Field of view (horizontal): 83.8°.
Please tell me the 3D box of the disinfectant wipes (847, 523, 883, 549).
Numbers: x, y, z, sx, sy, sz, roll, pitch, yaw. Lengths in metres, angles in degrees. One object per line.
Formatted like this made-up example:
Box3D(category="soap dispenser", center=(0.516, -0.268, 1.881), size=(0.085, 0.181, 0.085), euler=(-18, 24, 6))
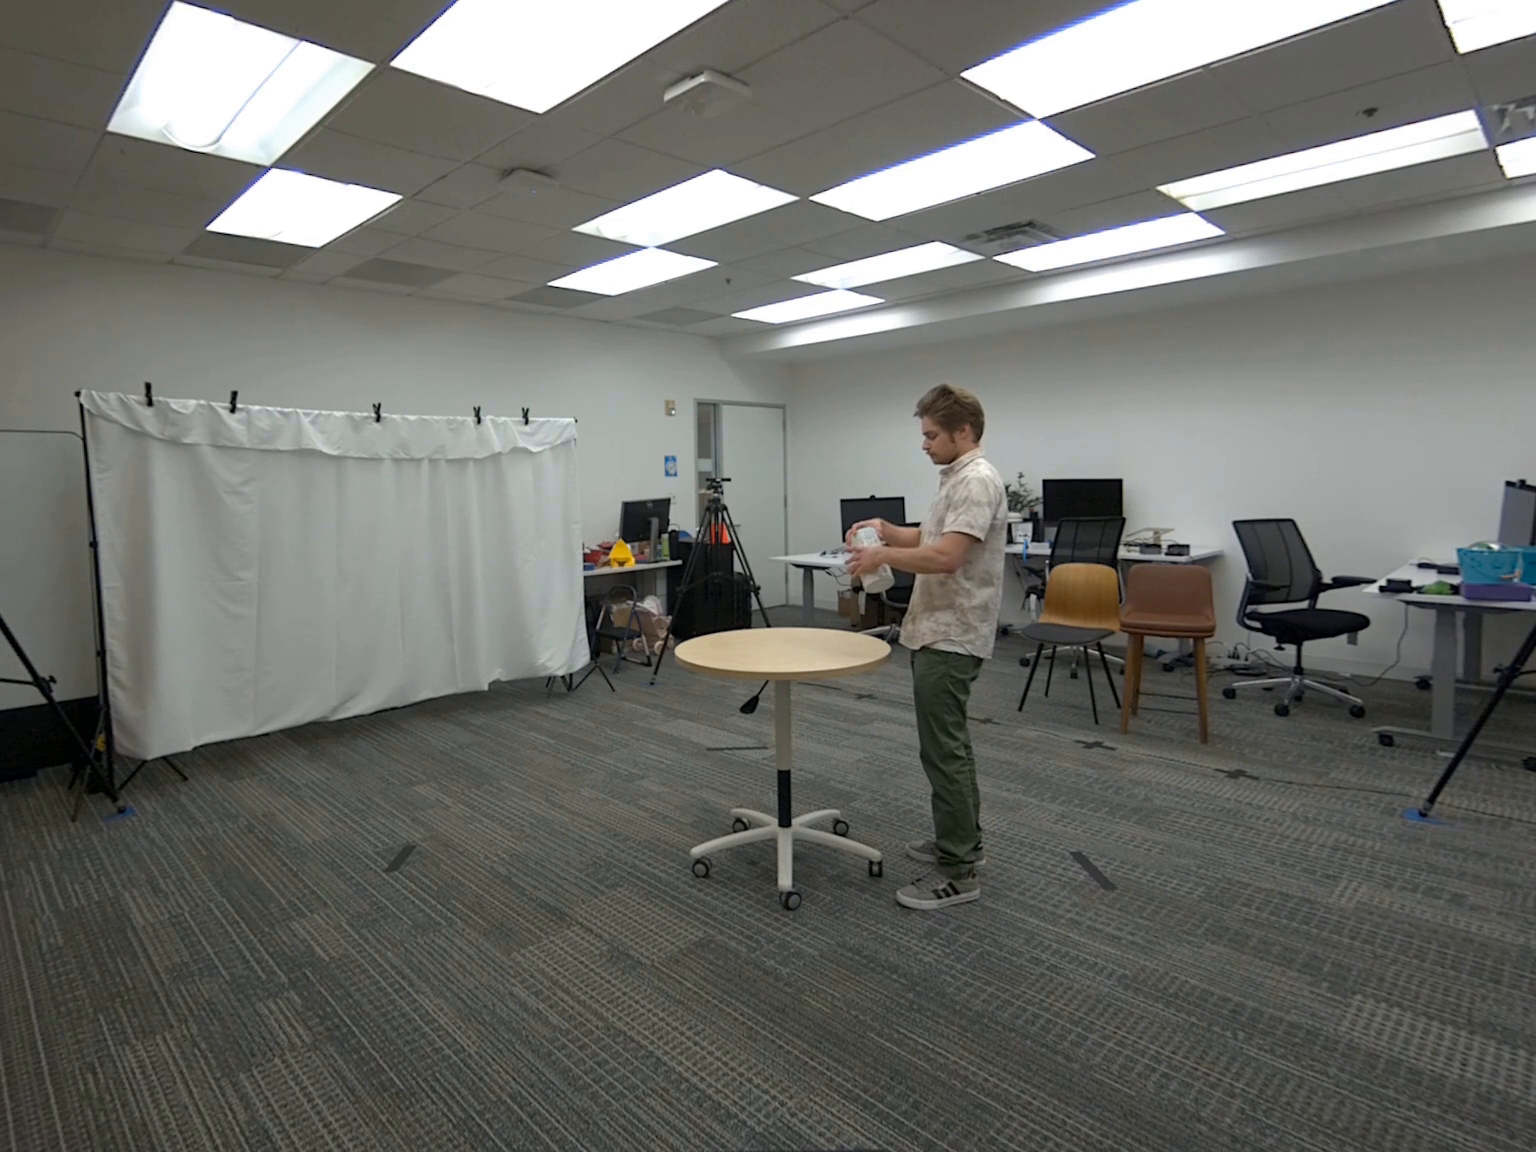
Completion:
Box3D(category="disinfectant wipes", center=(0.384, -0.055, 3.038), size=(0.117, 0.223, 0.115), euler=(-10, -26, -7))
